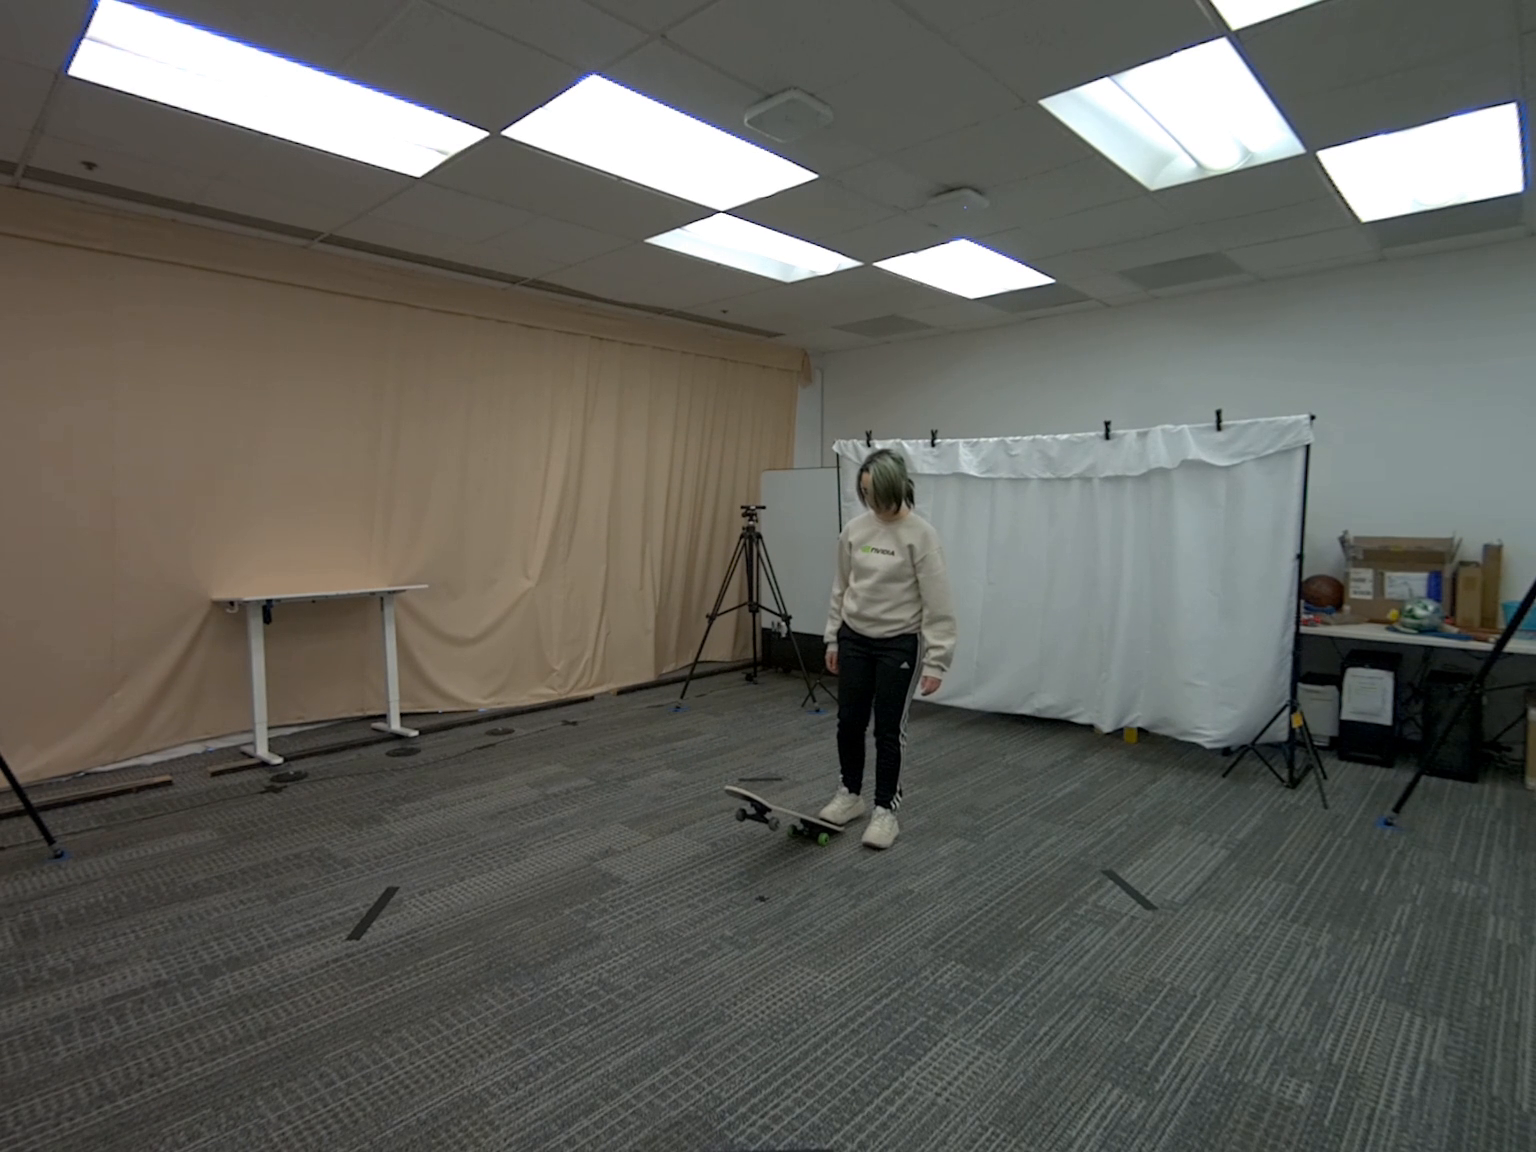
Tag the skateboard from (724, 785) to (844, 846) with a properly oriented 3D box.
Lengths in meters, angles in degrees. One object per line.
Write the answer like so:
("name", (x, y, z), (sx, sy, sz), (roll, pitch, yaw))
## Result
("skateboard", (0.069, 0.976, 3.360), (0.200, 0.111, 0.757), (4, -22, 36))
